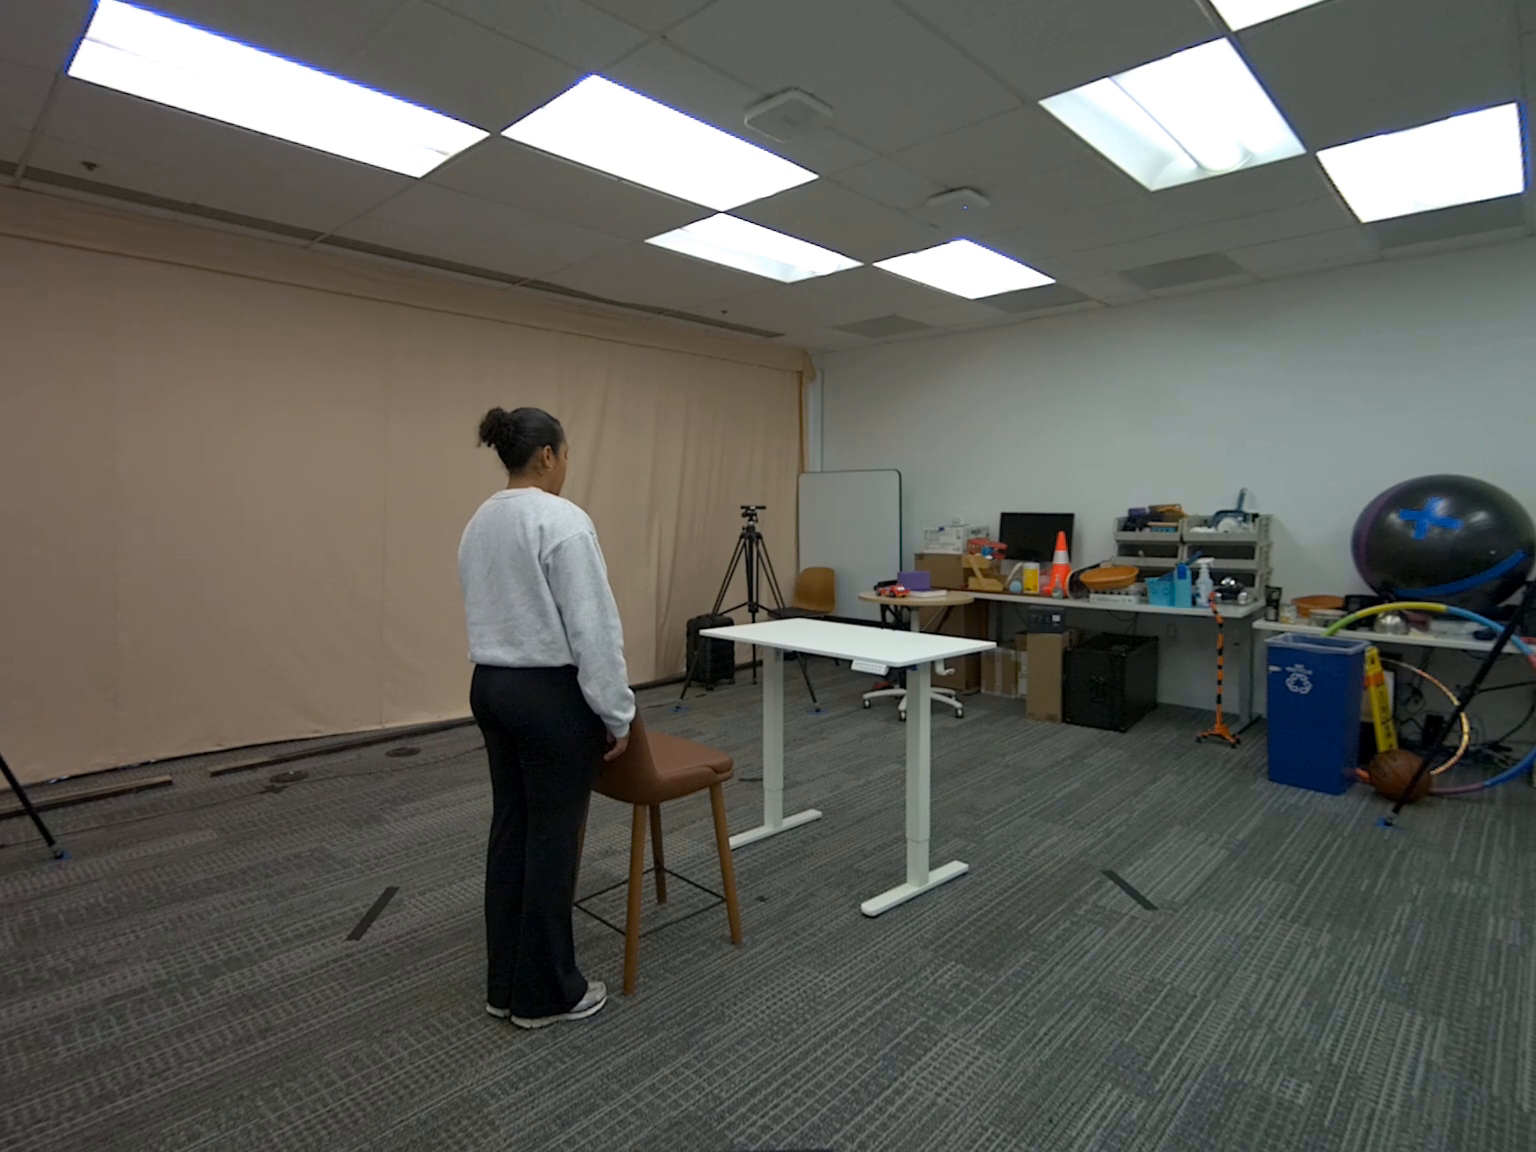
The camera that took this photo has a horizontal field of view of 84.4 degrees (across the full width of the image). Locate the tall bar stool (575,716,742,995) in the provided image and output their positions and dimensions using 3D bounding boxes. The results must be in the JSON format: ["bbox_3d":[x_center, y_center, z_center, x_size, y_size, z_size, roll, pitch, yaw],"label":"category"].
[{"bbox_3d":[-0.385,0.734,2.650,0.454,0.887,0.472,-6,6,-44],"label":"tall bar stool"}]
